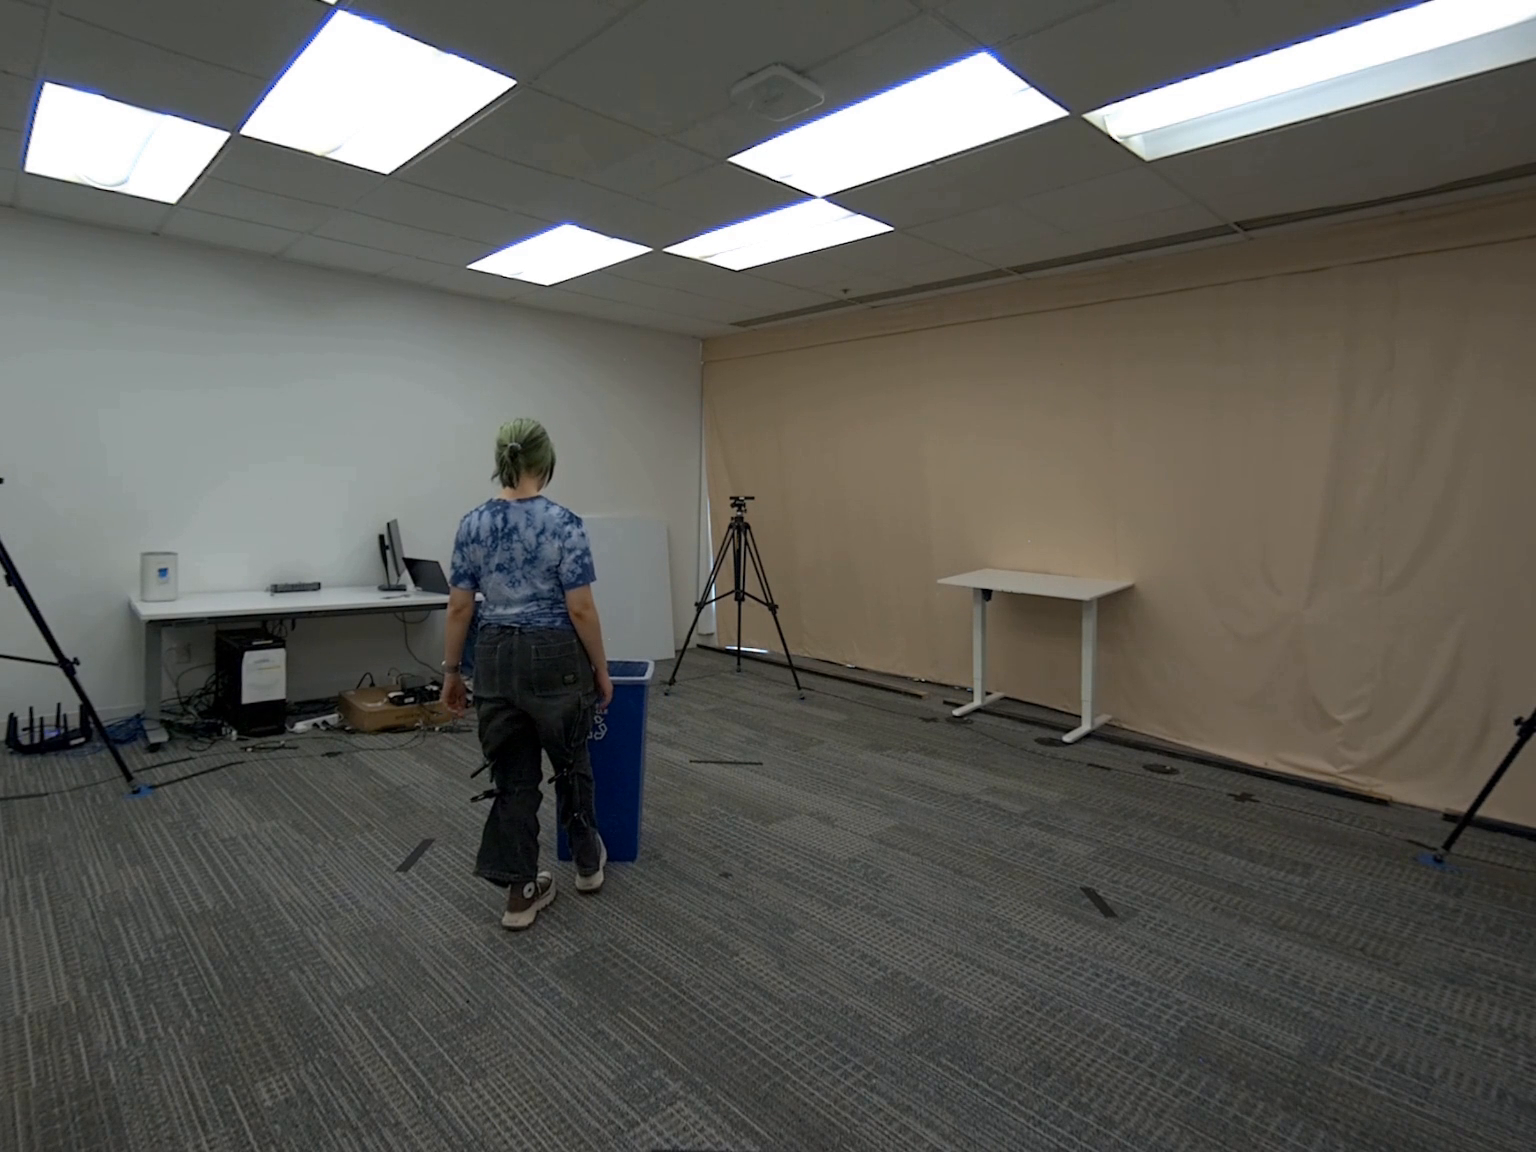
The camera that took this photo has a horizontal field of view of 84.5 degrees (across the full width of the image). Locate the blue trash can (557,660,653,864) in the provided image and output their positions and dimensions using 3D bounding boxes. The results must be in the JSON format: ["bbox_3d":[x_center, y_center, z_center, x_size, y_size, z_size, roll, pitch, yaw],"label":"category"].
[{"bbox_3d":[-0.656,0.719,3.333,0.373,0.712,0.380,1,3,-3],"label":"blue trash can"}]
